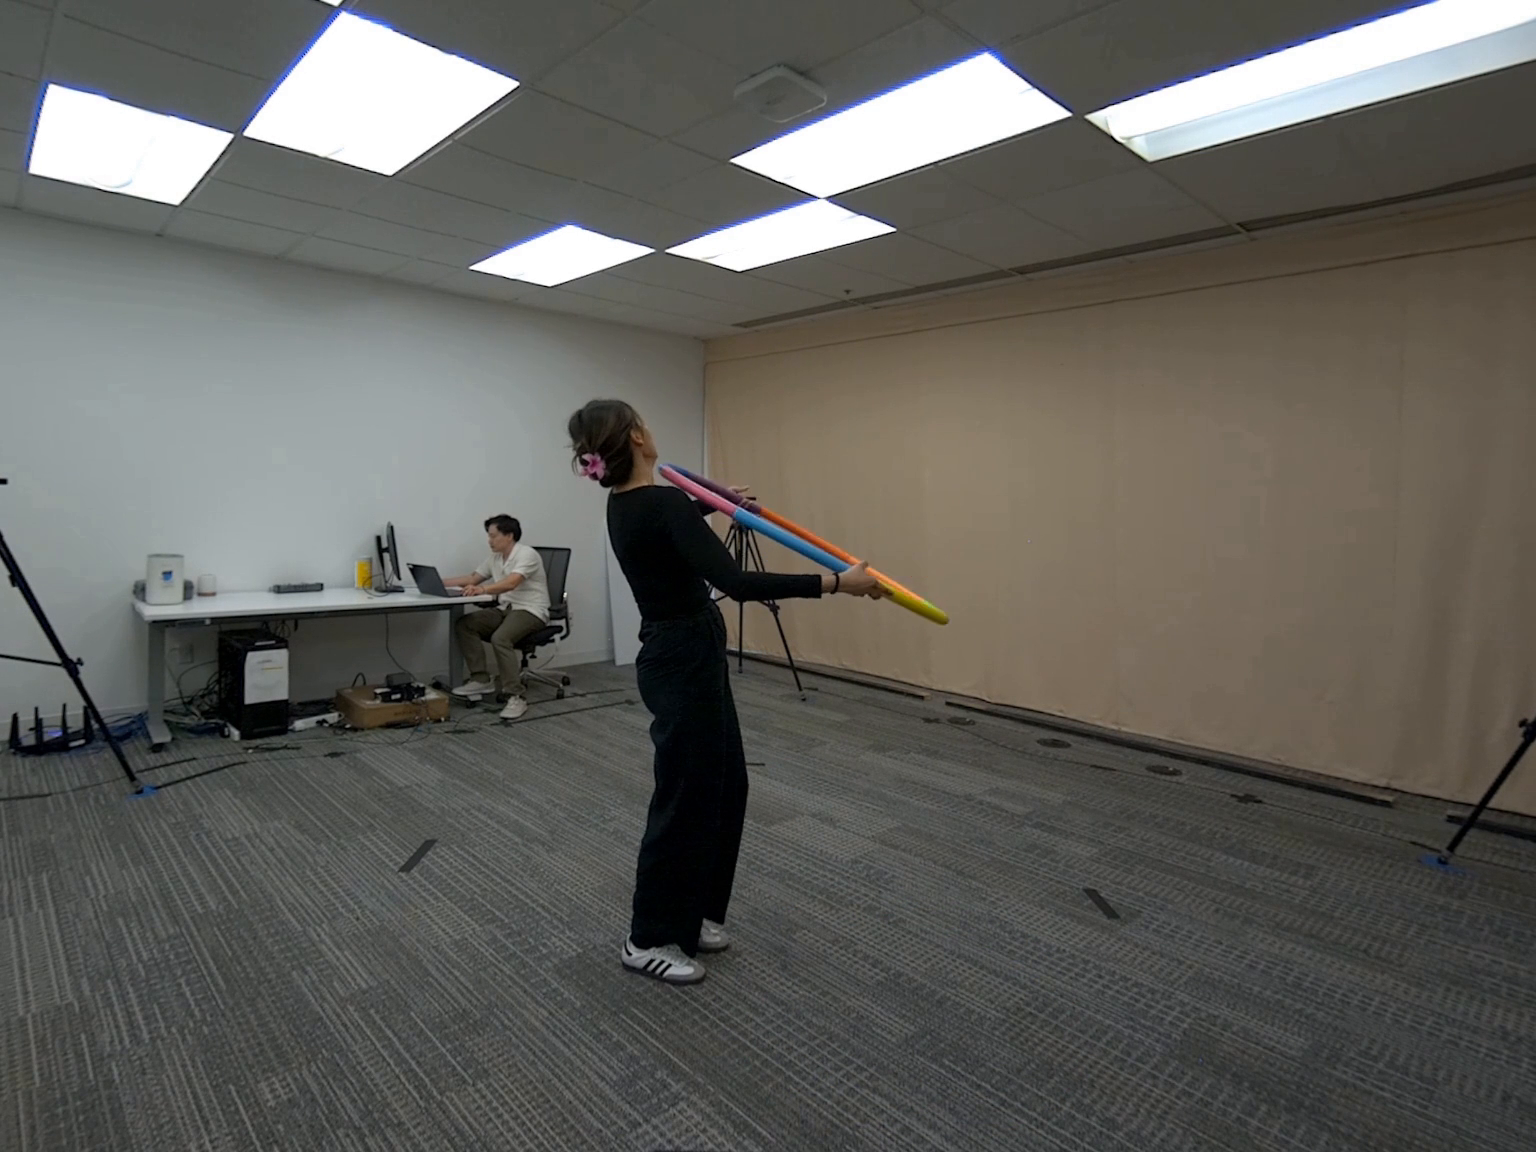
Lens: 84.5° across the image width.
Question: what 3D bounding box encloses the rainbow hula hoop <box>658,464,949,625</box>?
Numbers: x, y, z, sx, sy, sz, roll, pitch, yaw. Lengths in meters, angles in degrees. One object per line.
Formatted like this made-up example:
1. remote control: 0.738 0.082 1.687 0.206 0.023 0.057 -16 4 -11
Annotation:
1. rainbow hula hoop: 0.098 -0.094 2.569 0.981 0.051 0.992 28 7 -5
